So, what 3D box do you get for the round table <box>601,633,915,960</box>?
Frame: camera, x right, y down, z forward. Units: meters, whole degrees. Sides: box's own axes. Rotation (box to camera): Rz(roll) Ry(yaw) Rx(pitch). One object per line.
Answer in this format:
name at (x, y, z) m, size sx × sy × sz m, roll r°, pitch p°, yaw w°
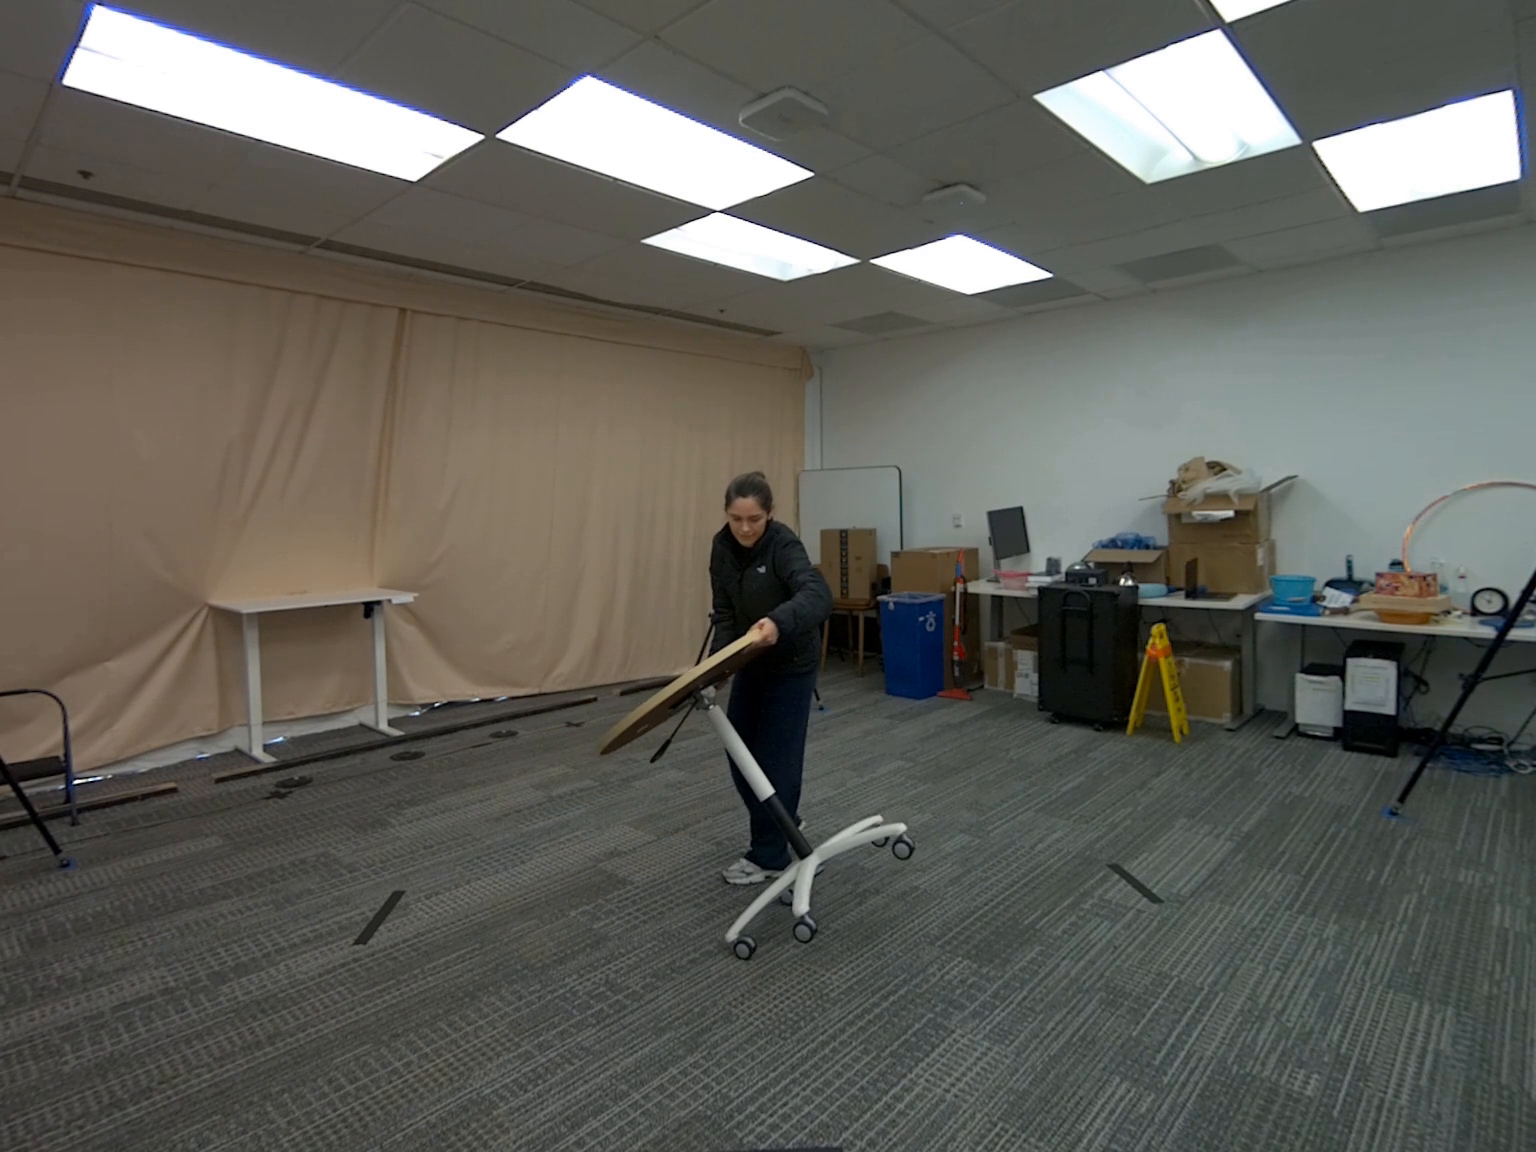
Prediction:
round table at (-0.020, 0.676, 2.715) m, size 0.781 × 0.796 × 0.779 m, roll -33°, pitch -10°, yaw -9°
